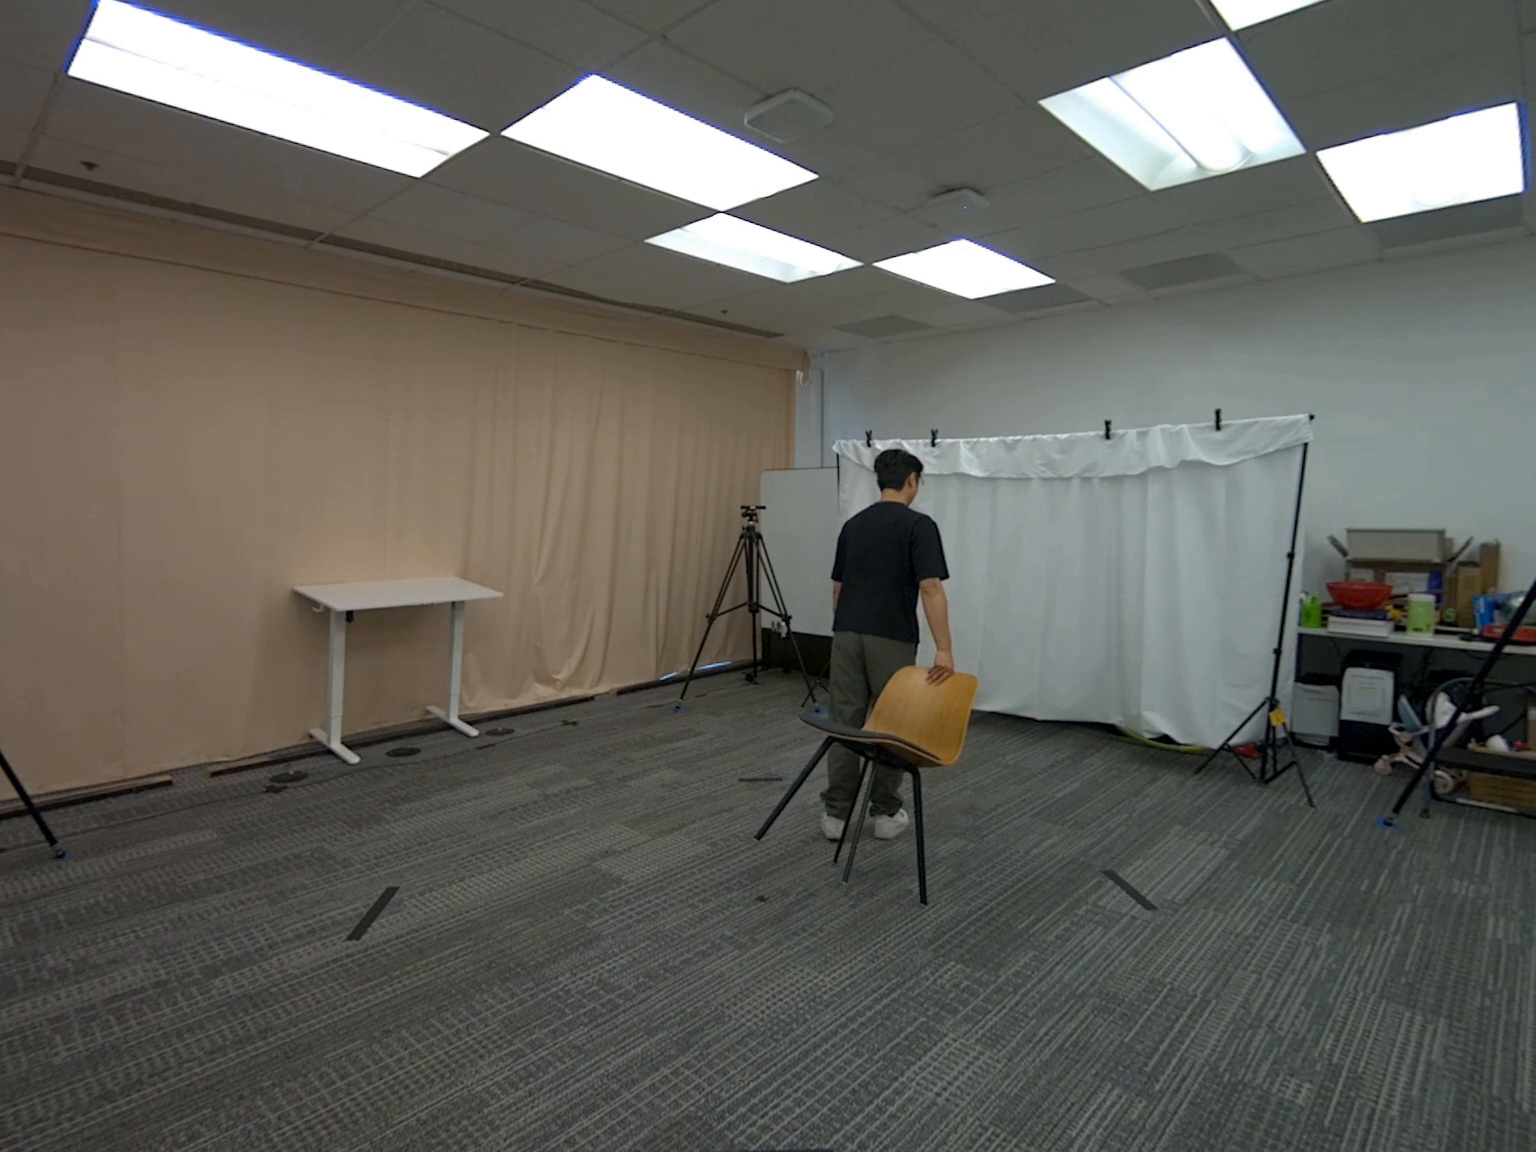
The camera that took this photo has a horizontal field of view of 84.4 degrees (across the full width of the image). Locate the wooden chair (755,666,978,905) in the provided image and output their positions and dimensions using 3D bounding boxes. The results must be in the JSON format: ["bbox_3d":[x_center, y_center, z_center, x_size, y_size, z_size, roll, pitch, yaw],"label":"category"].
[{"bbox_3d":[0.391,0.645,3.054,0.505,0.879,0.494,34,-18,-35],"label":"wooden chair"}]
